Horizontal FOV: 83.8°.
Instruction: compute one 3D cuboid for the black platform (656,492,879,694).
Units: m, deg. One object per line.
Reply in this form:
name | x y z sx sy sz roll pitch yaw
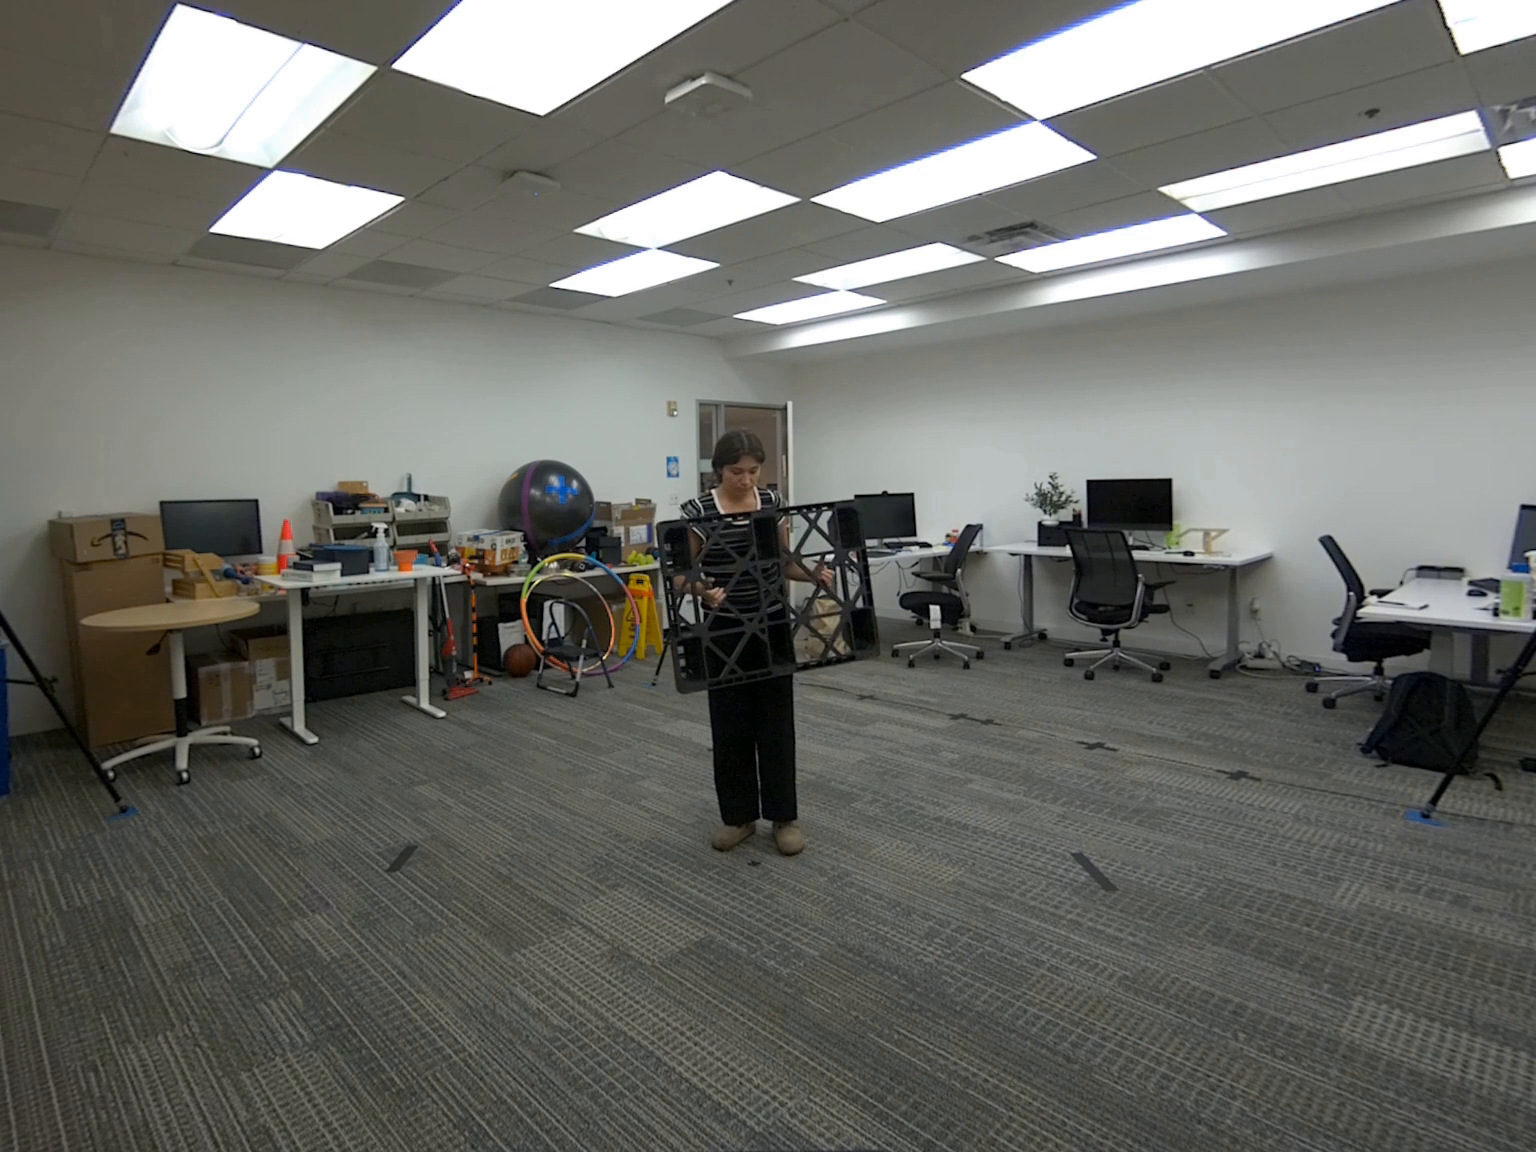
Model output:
black platform | -0.002 0.057 3.115 0.792 0.606 0.145 -7 -1 -20
